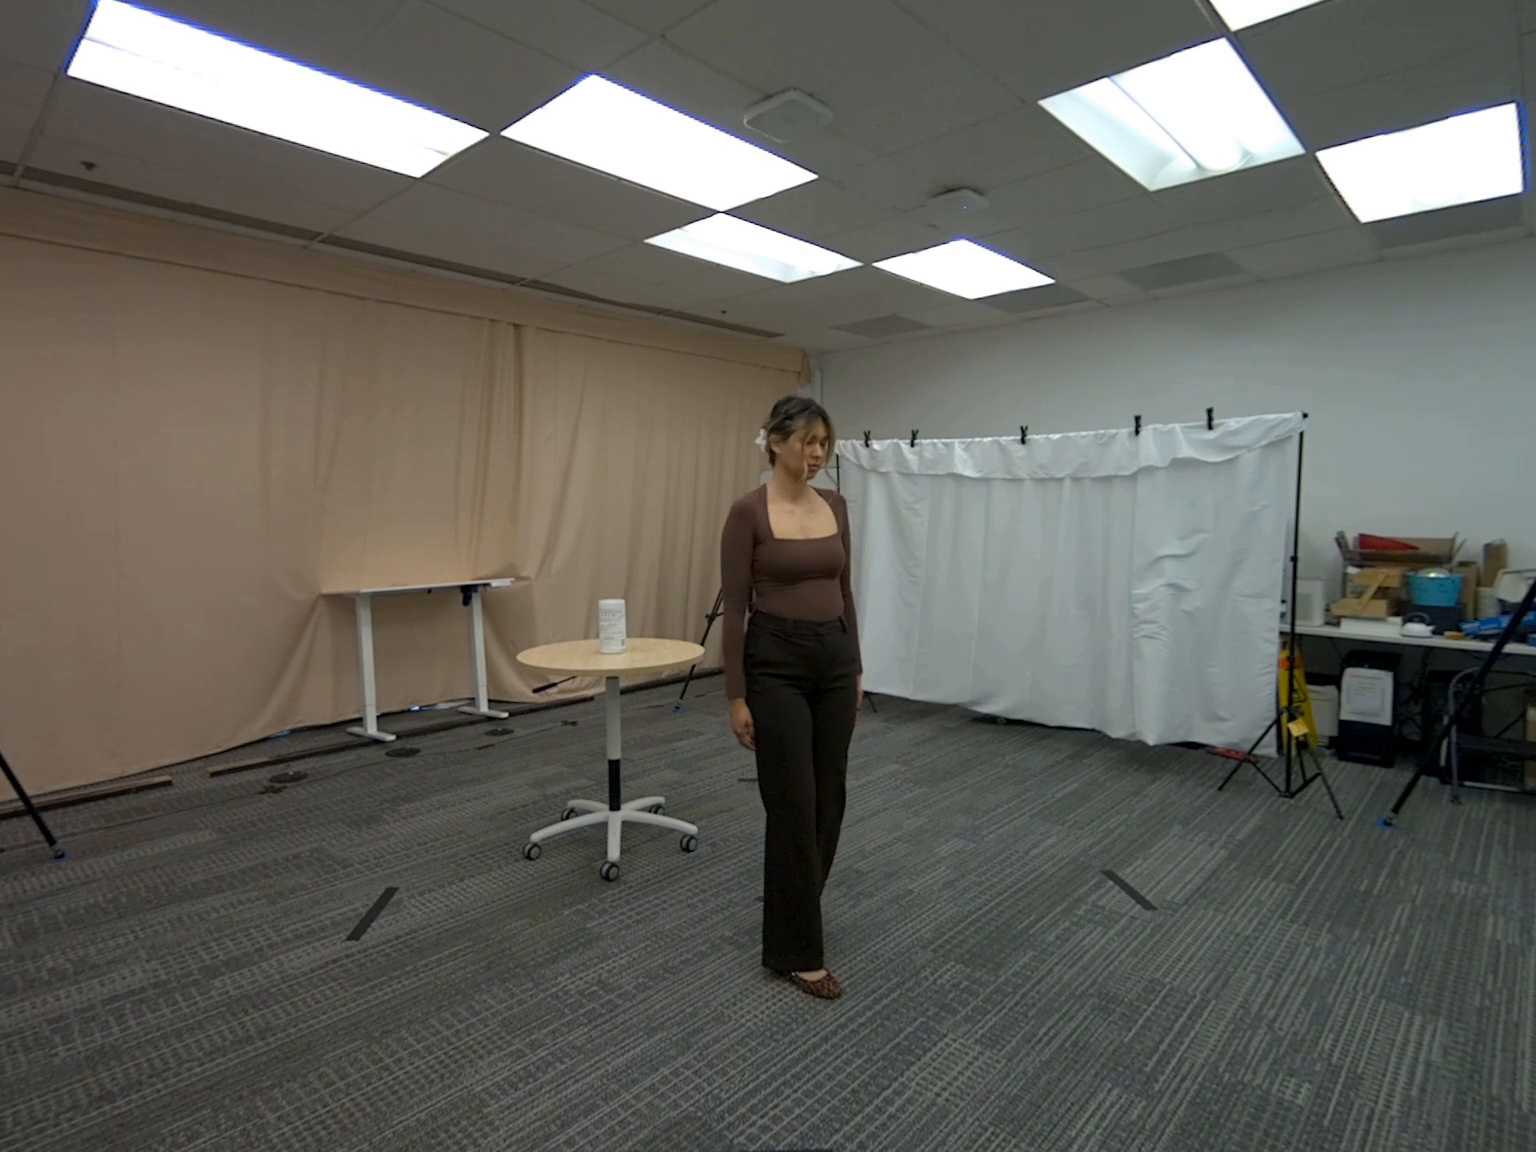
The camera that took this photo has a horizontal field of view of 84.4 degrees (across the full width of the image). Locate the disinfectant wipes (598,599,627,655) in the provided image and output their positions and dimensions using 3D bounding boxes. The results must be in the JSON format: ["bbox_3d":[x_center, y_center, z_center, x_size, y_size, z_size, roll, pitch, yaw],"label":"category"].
[{"bbox_3d":[-0.640,0.208,3.461,0.118,0.217,0.118,-1,3,-2],"label":"disinfectant wipes"}]
